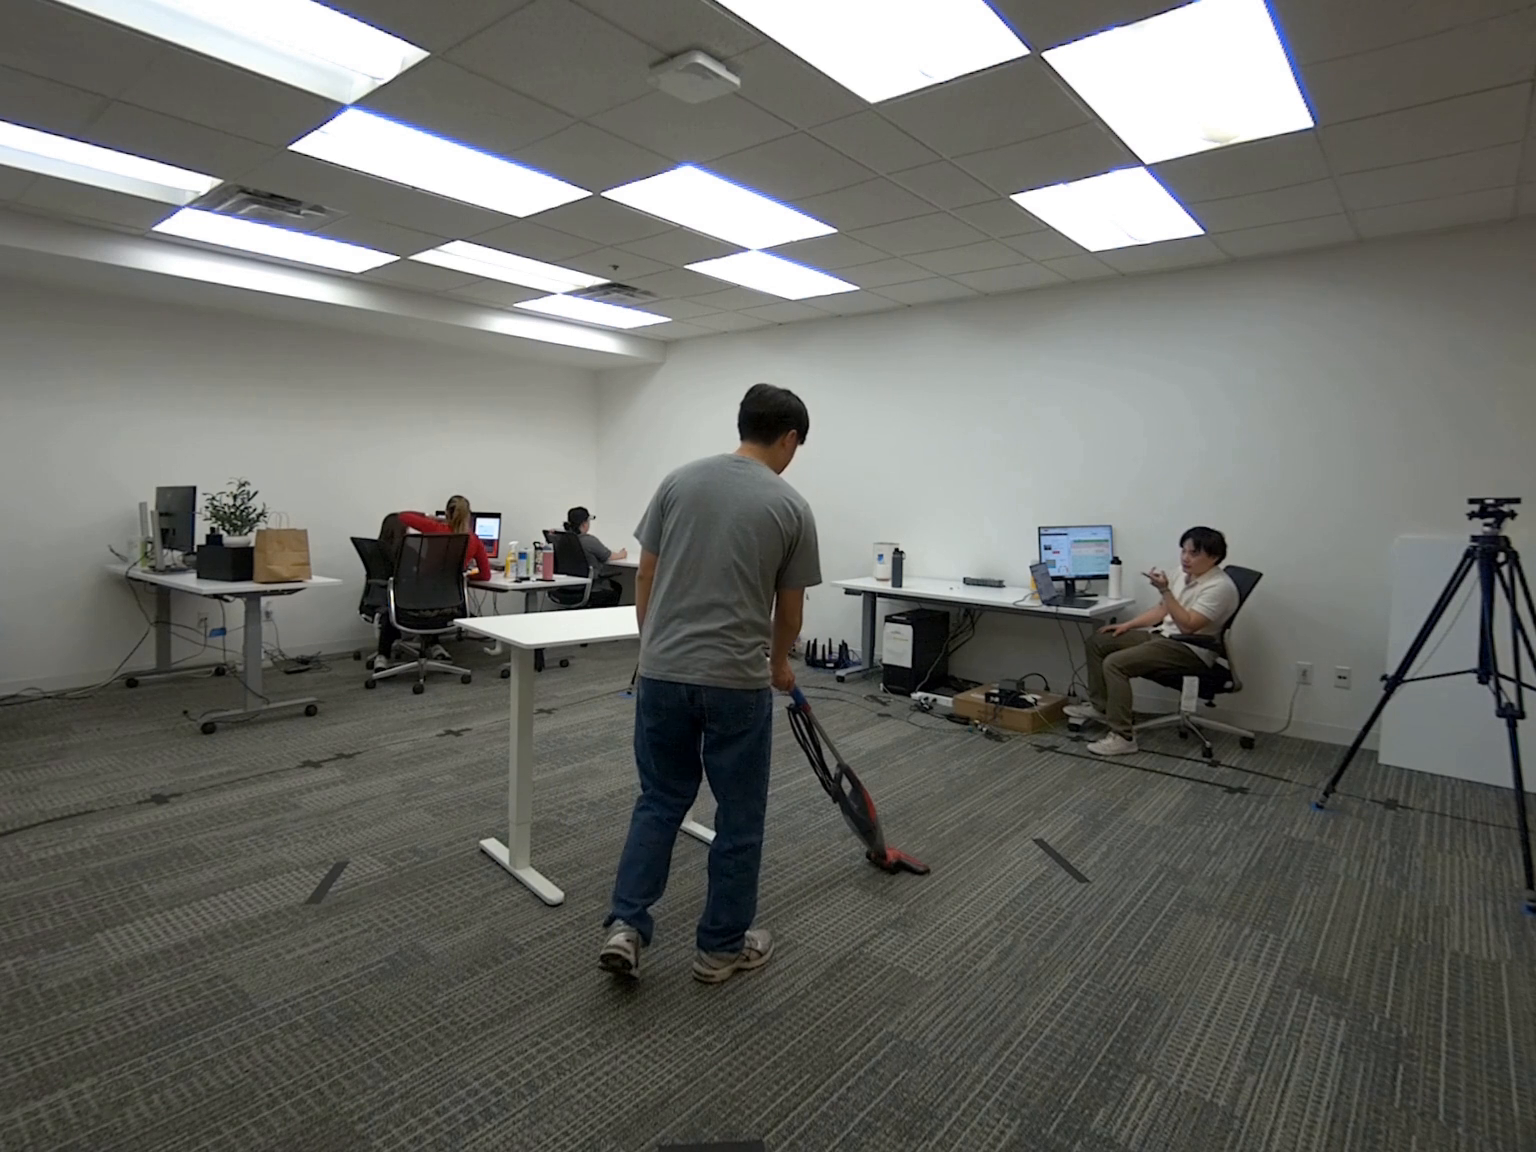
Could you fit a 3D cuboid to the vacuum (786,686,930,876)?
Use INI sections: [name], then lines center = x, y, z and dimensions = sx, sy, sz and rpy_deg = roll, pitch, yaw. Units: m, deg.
[vacuum]
center = 0.224, 0.689, 2.938
dimensions = 0.261, 1.013, 0.144
rpy_deg = 9, 49, 50
